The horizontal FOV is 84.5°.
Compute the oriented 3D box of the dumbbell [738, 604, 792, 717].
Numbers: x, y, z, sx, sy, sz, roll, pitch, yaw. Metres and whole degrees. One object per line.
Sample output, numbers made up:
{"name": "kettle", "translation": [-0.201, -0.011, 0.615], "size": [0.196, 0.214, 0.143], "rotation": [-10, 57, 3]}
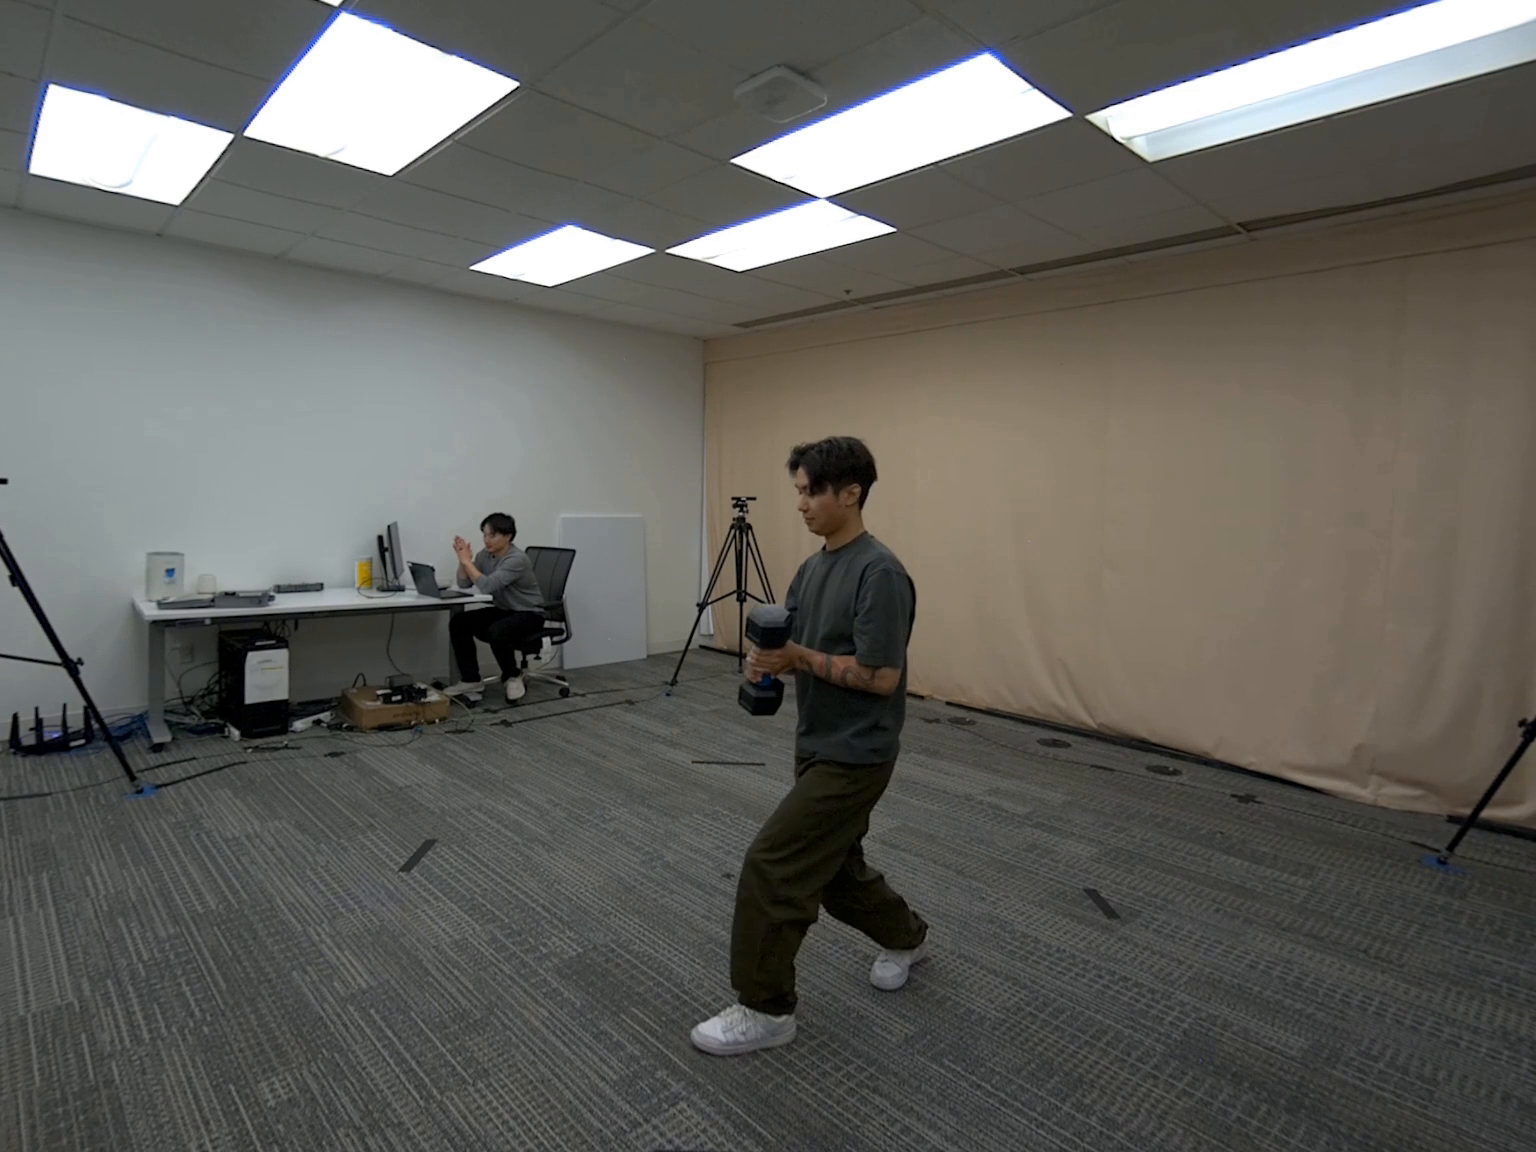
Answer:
{"name": "dumbbell", "translation": [-0.015, 0.217, 2.197], "size": [0.110, 0.289, 0.123], "rotation": [14, 27, 15]}
